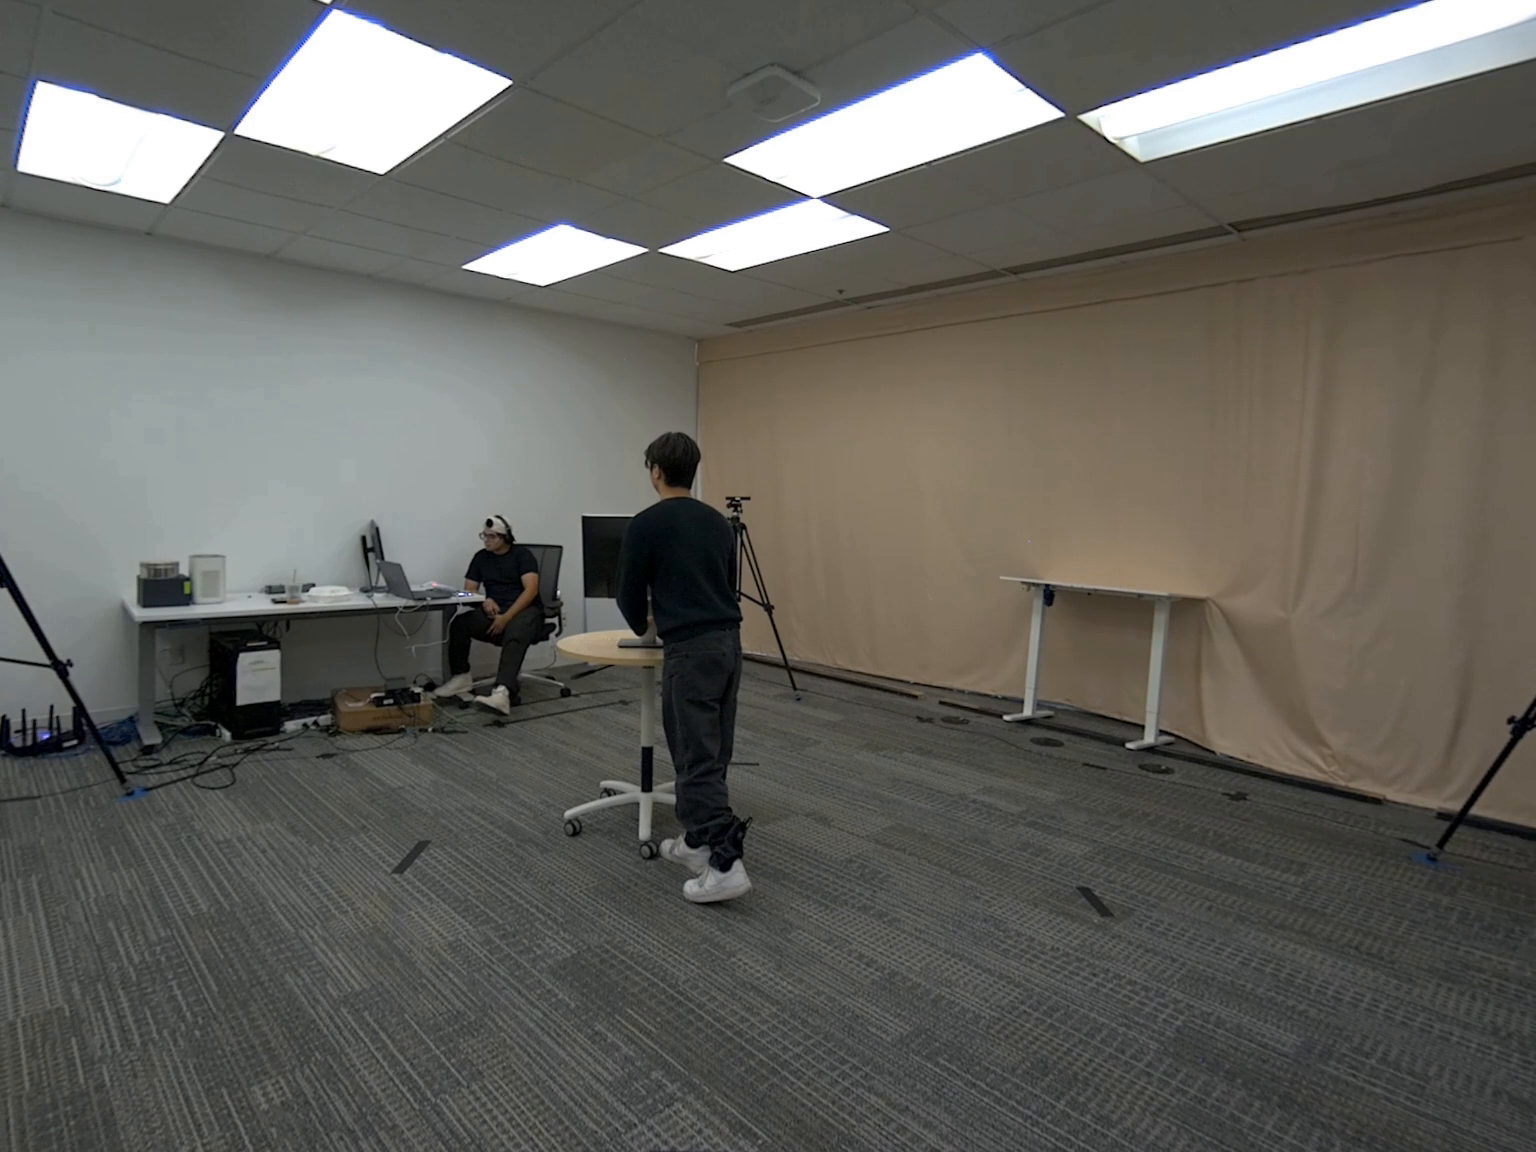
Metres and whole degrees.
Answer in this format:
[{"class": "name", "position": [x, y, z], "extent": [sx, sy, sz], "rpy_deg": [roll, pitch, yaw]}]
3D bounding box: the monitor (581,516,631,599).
[{"class": "monitor", "position": [-0.494, 0.020, 3.499], "extent": [0.528, 0.516, 0.175], "rpy_deg": [0, -1, -4]}]
